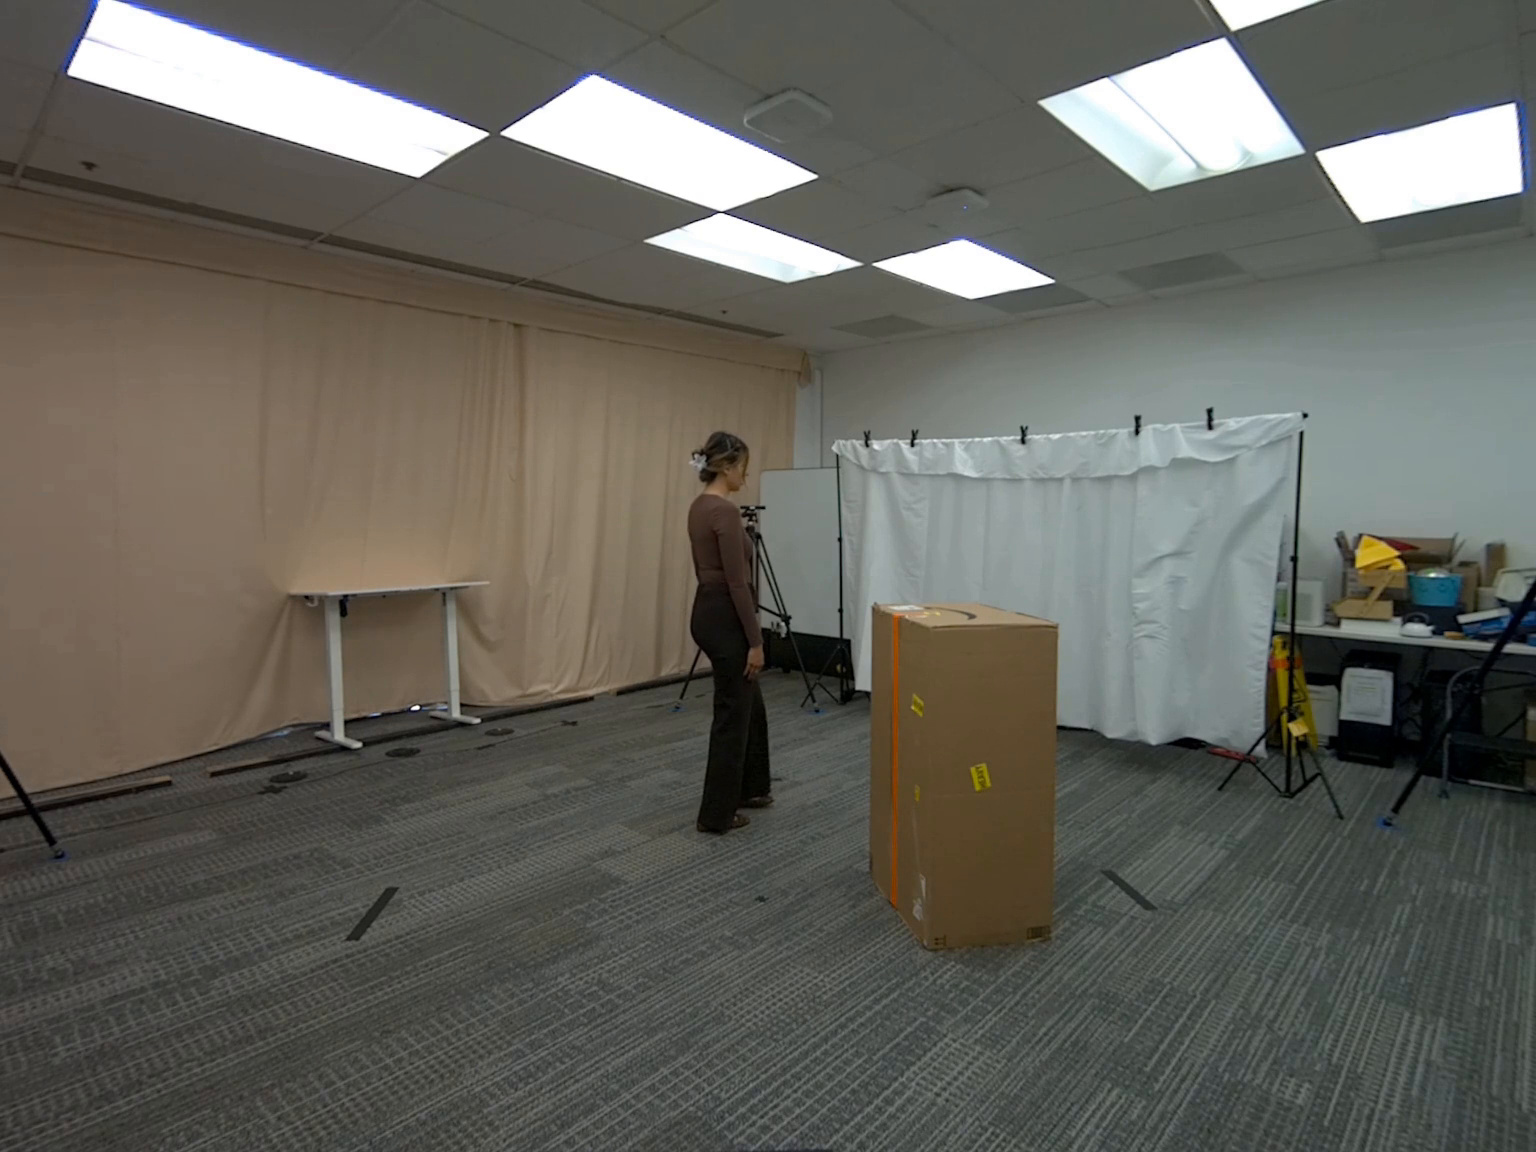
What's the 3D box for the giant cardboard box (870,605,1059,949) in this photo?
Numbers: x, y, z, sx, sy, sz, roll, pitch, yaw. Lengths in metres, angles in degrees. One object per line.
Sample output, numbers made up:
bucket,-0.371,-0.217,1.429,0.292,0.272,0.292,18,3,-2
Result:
giant cardboard box,0.656,0.639,2.912,0.441,1.025,0.592,0,3,-12
